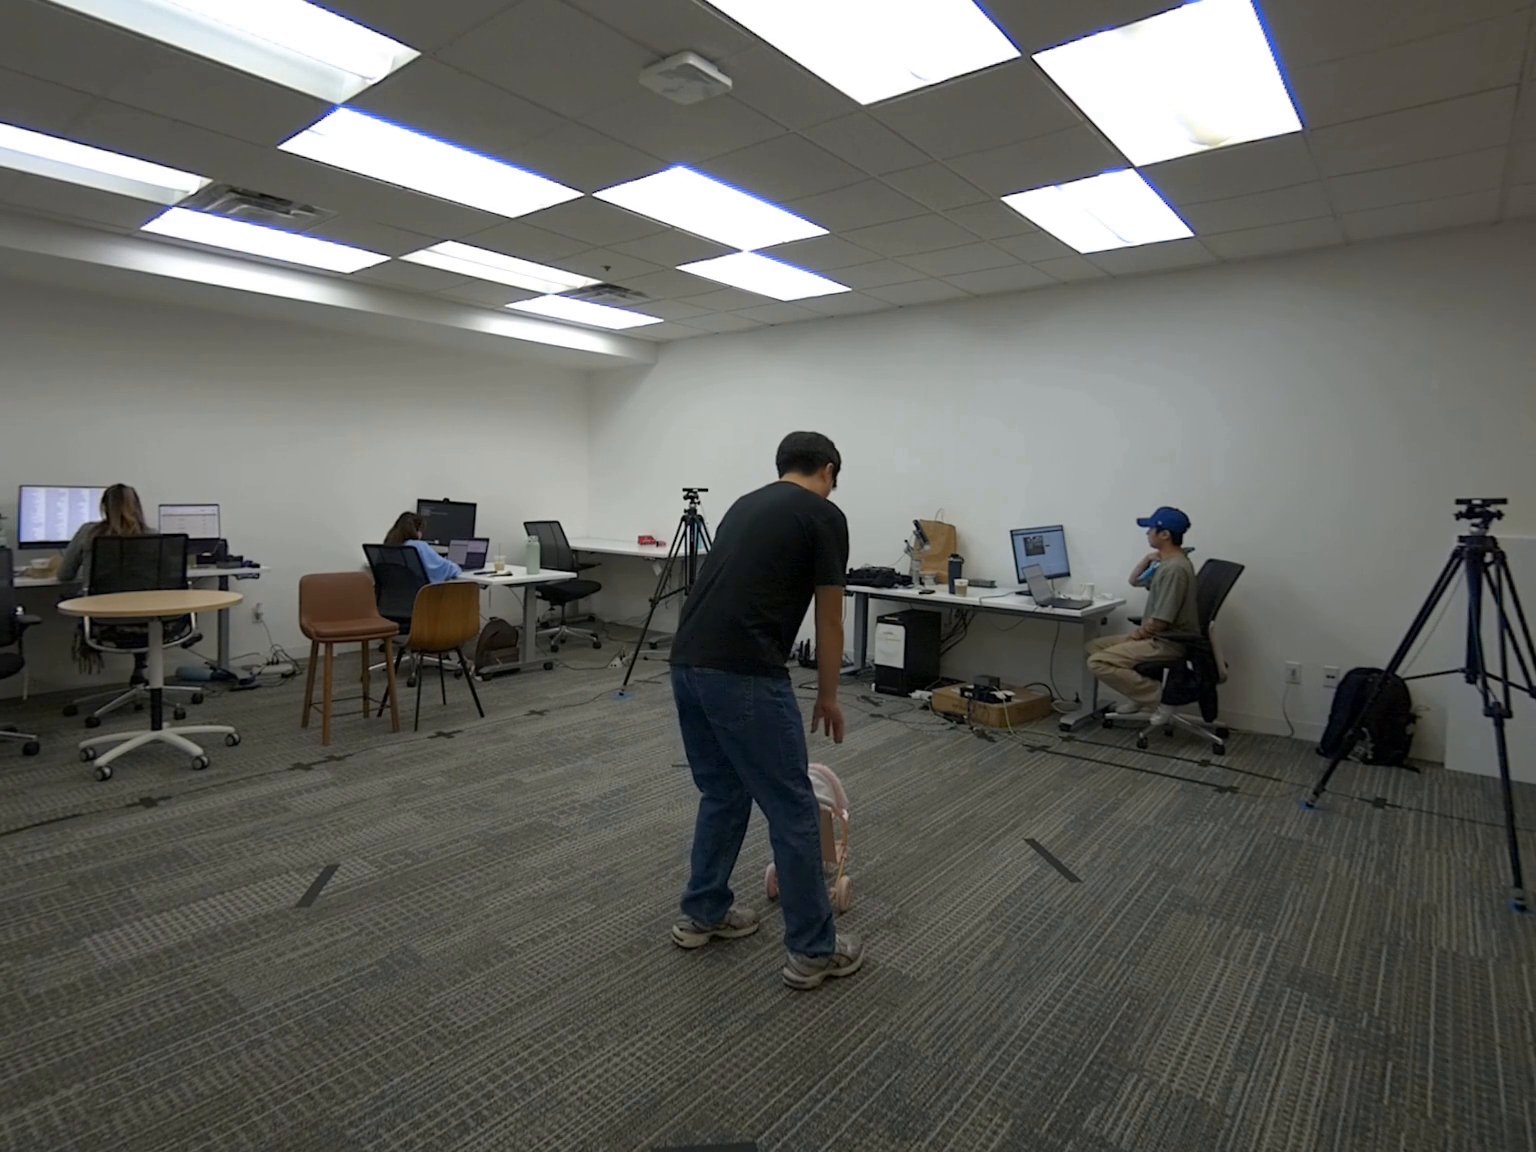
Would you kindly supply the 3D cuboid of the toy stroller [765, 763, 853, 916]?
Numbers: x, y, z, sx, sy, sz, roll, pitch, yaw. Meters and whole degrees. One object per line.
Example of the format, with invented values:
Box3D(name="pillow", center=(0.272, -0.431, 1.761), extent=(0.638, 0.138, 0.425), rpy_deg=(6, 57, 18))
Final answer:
Box3D(name="toy stroller", center=(0.152, 0.872, 2.919), extent=(0.288, 0.525, 0.339), rpy_deg=(3, 20, 22))
